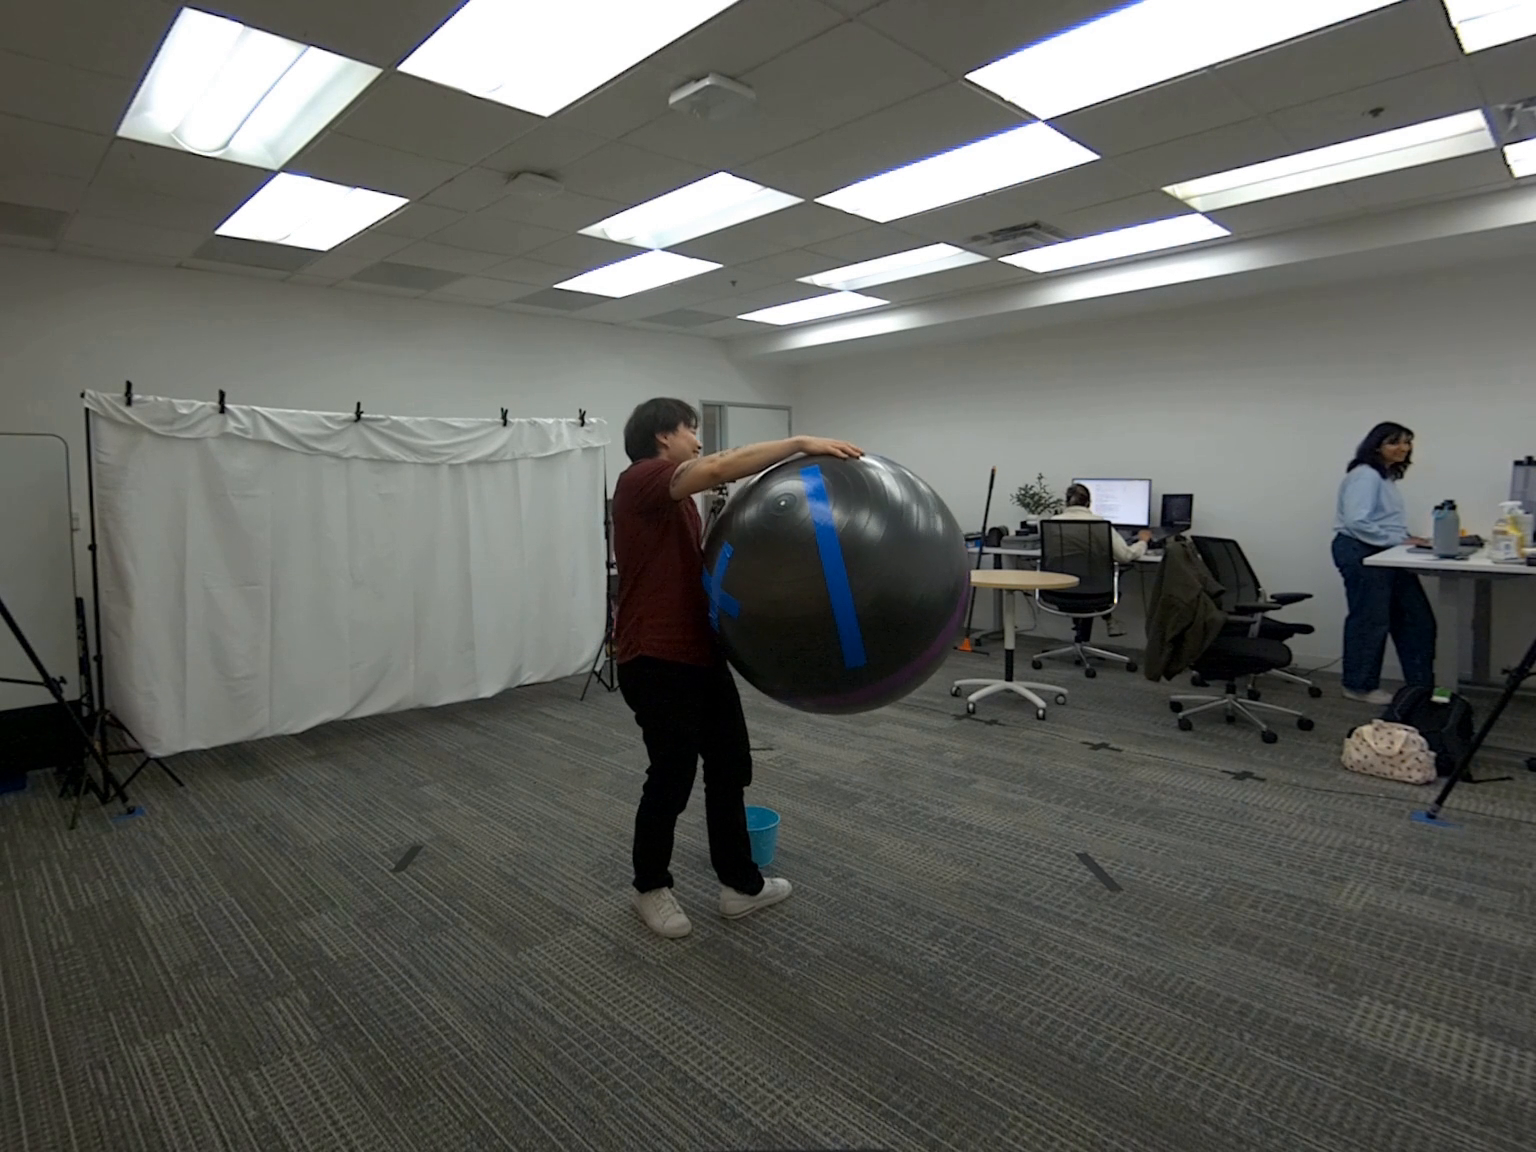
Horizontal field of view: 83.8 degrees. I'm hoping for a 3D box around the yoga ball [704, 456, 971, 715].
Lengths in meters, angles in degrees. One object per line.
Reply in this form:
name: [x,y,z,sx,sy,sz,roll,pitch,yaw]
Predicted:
yoga ball: [0.193,0.017,2.441,0.757,0.755,0.762,-1,5,-2]
